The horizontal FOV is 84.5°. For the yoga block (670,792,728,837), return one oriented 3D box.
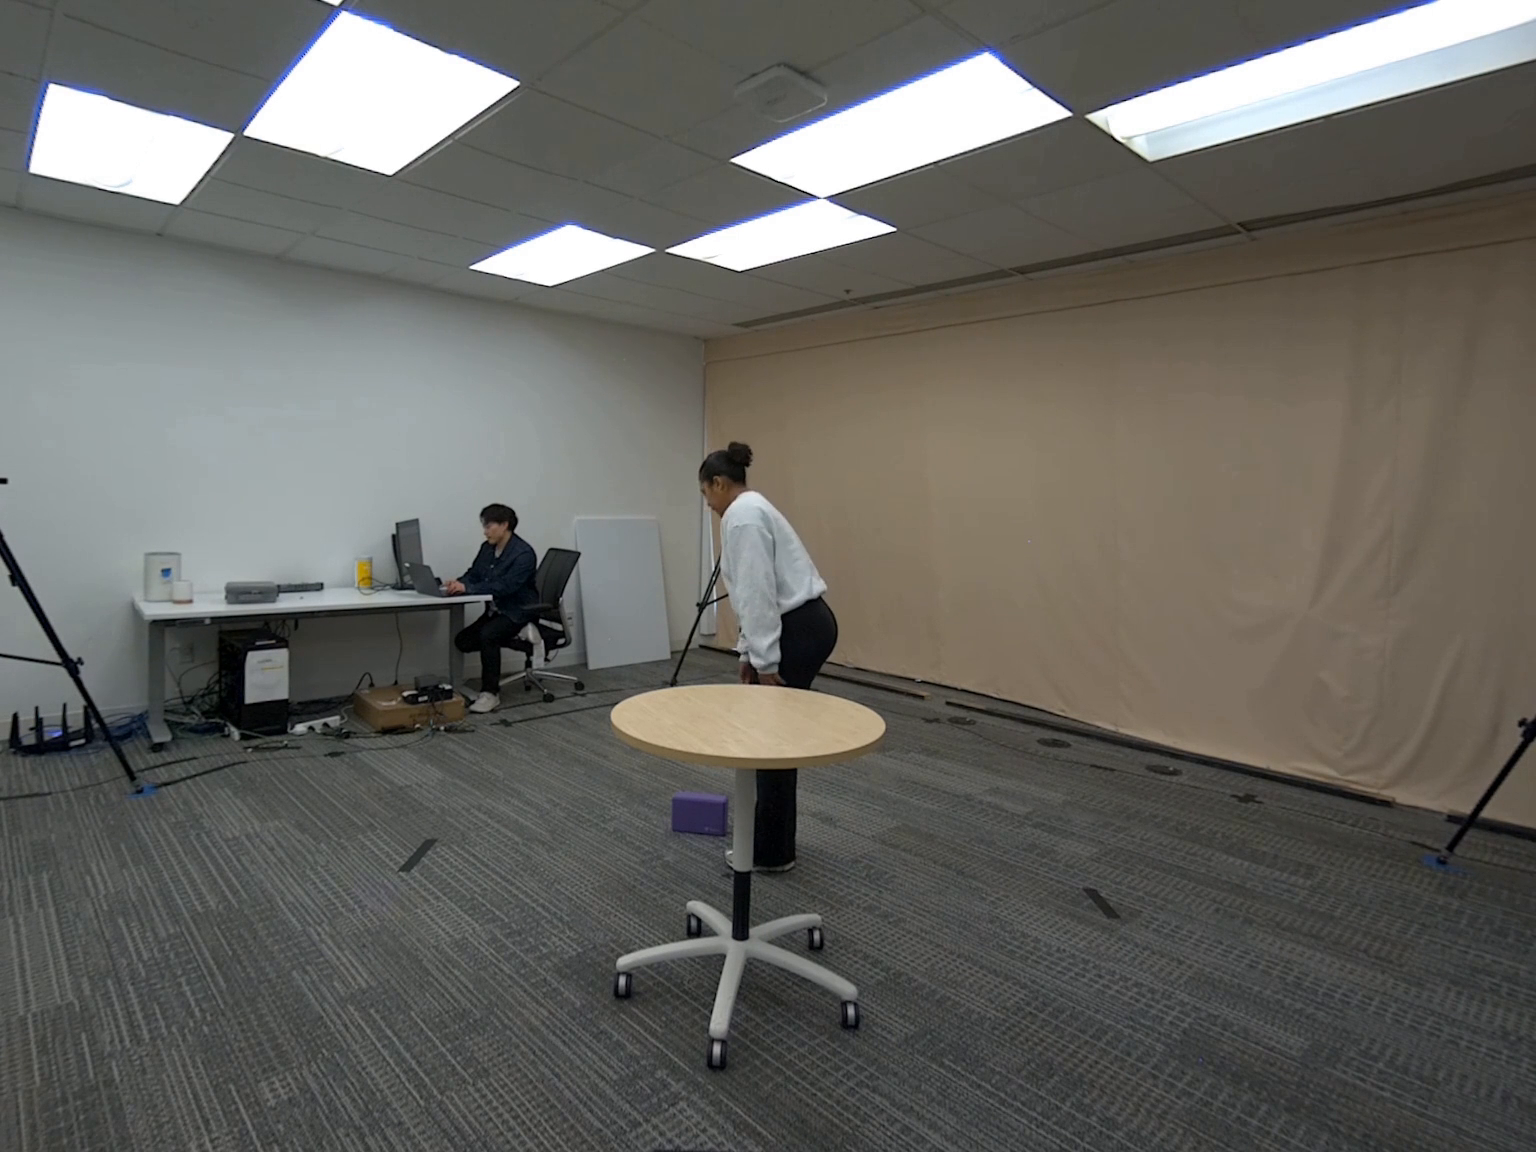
[{"bbox_3d":[-0.289,0.980,3.515,0.231,0.149,0.076,0,3,10],"label":"yoga block"}]
